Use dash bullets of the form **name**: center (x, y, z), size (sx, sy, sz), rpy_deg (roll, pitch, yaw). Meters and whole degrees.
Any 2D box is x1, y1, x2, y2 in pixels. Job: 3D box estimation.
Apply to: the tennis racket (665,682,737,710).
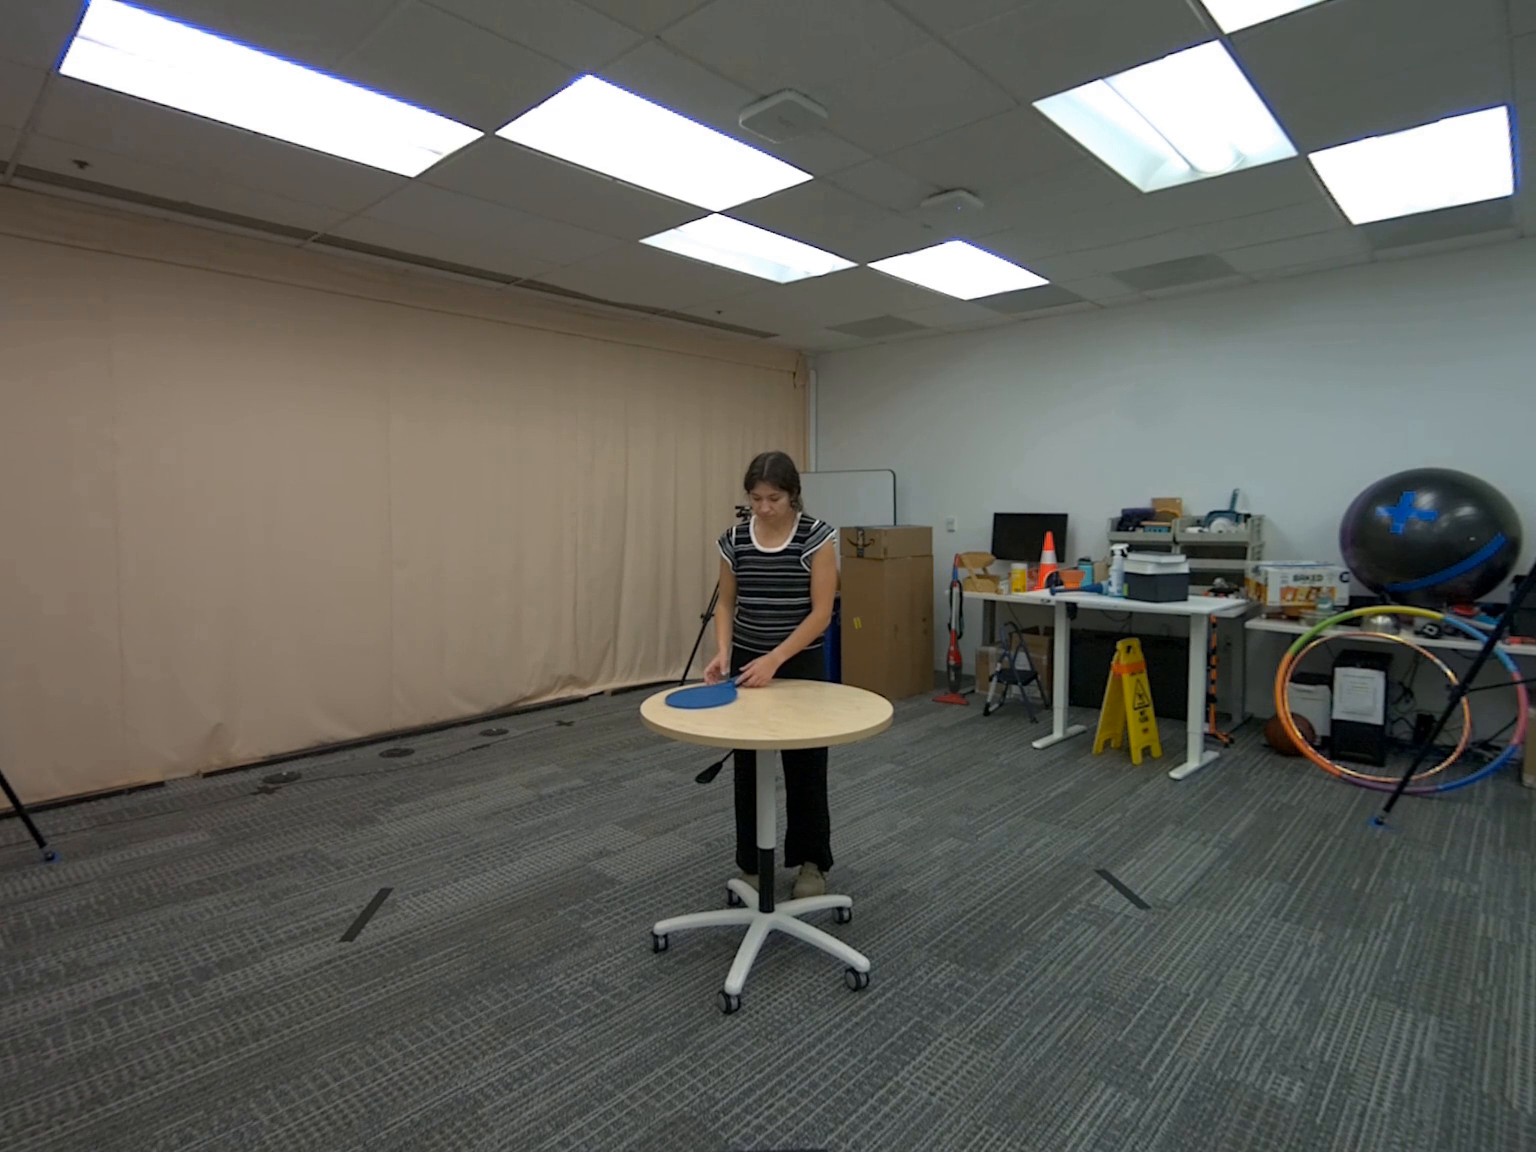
- **tennis racket**: center (-0.168, 0.374, 2.723), size (0.220, 0.031, 0.422), rpy_deg (3, 8, 31)
